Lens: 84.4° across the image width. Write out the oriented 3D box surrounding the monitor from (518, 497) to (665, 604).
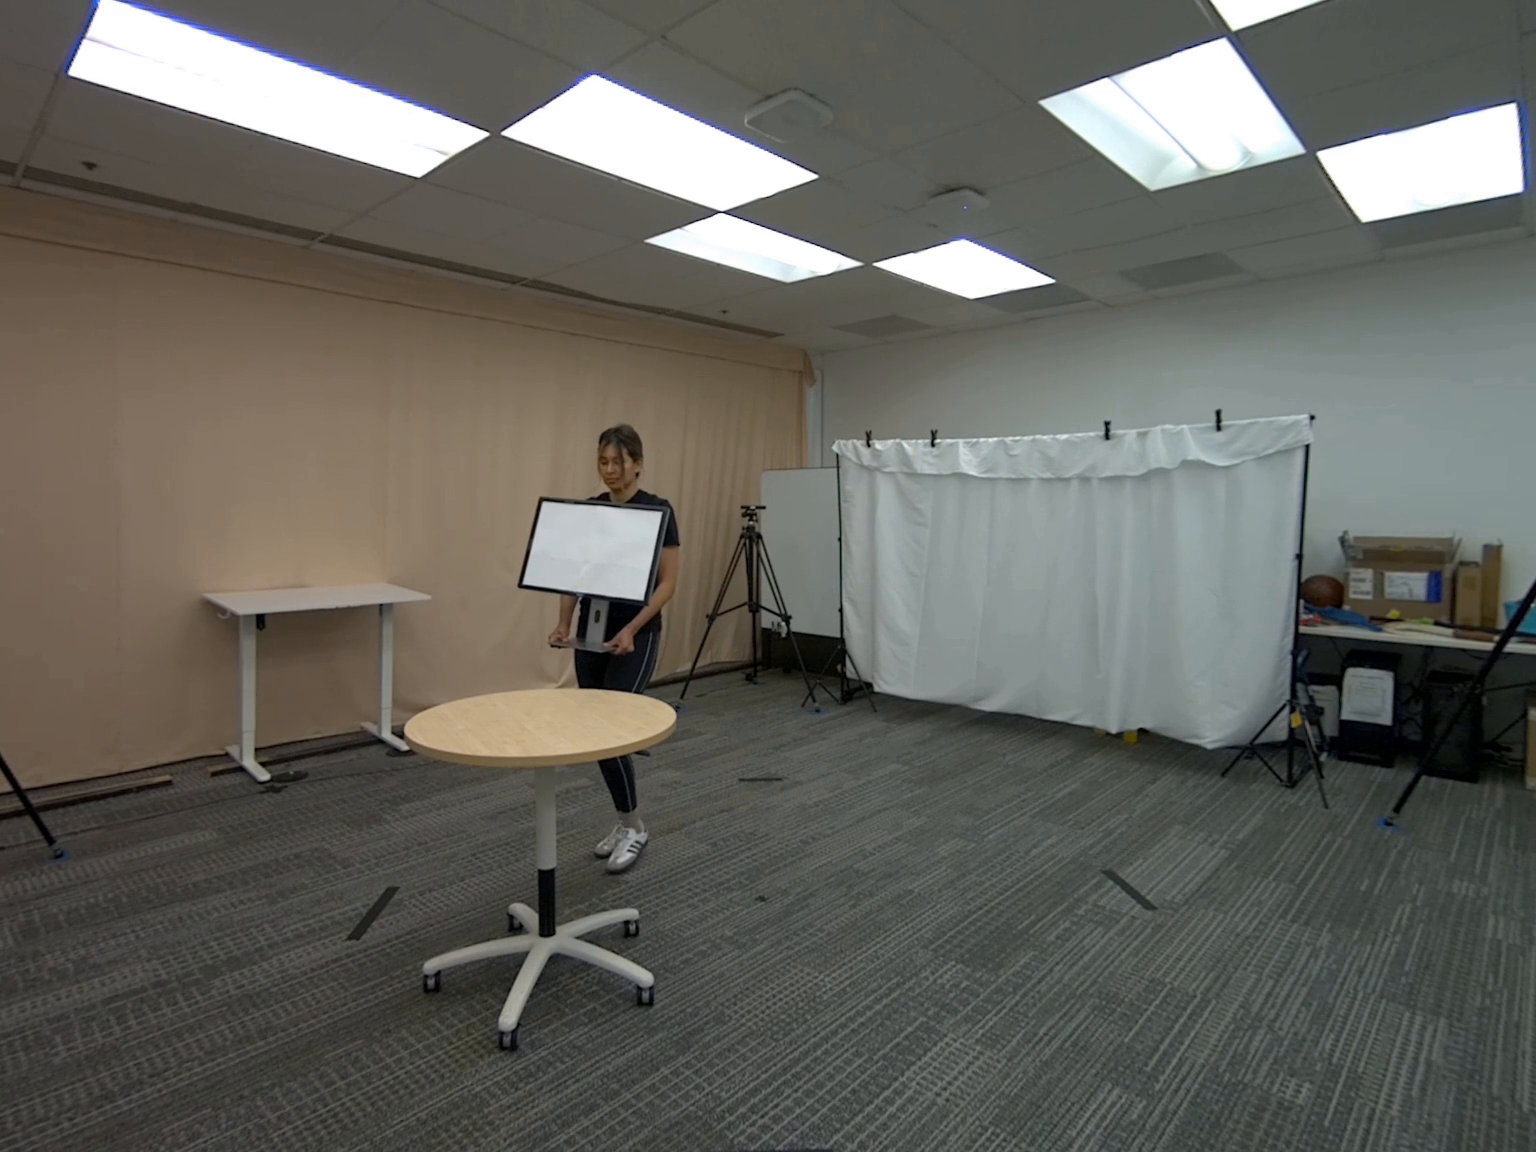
[{"bbox_3d":[-0.645,-0.011,3.134,0.552,0.522,0.182,6,0,22],"label":"monitor"}]
